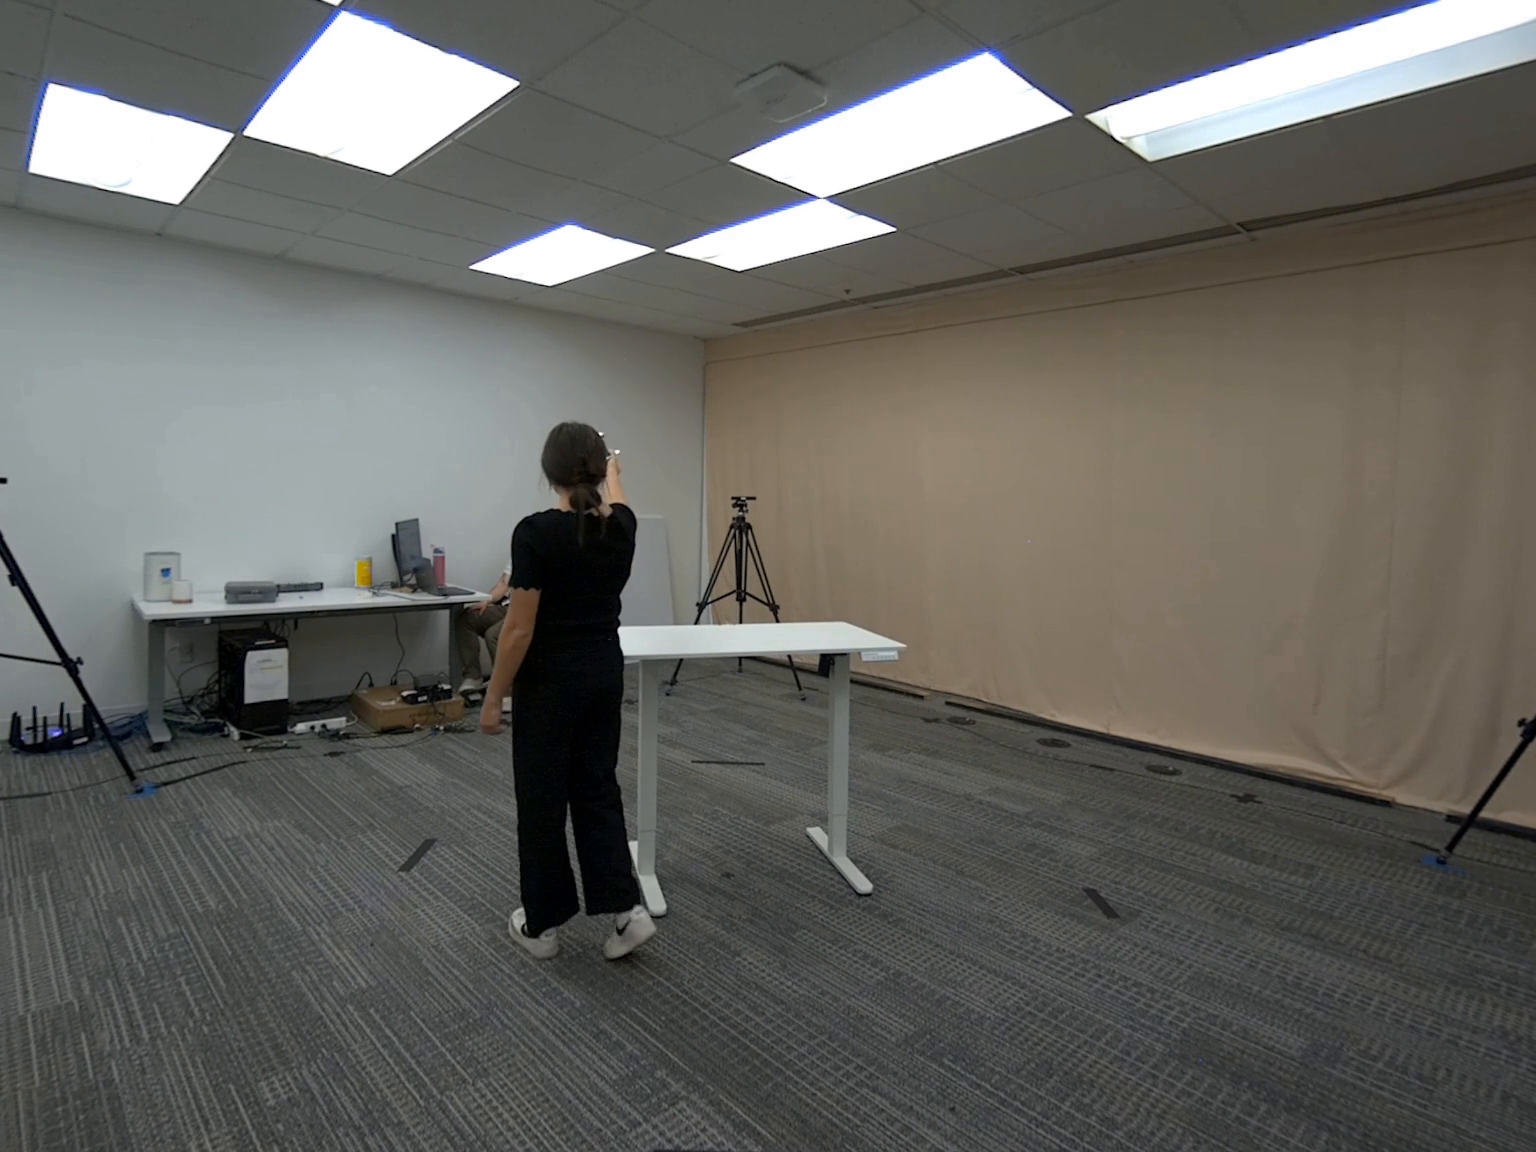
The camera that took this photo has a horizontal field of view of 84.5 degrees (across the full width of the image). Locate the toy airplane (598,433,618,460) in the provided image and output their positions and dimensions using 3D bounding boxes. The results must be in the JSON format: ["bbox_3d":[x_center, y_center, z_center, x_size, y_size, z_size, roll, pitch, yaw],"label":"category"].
[{"bbox_3d":[-0.666,-0.444,3.126,0.261,0.154,0.252,-21,15,19],"label":"toy airplane"}]
